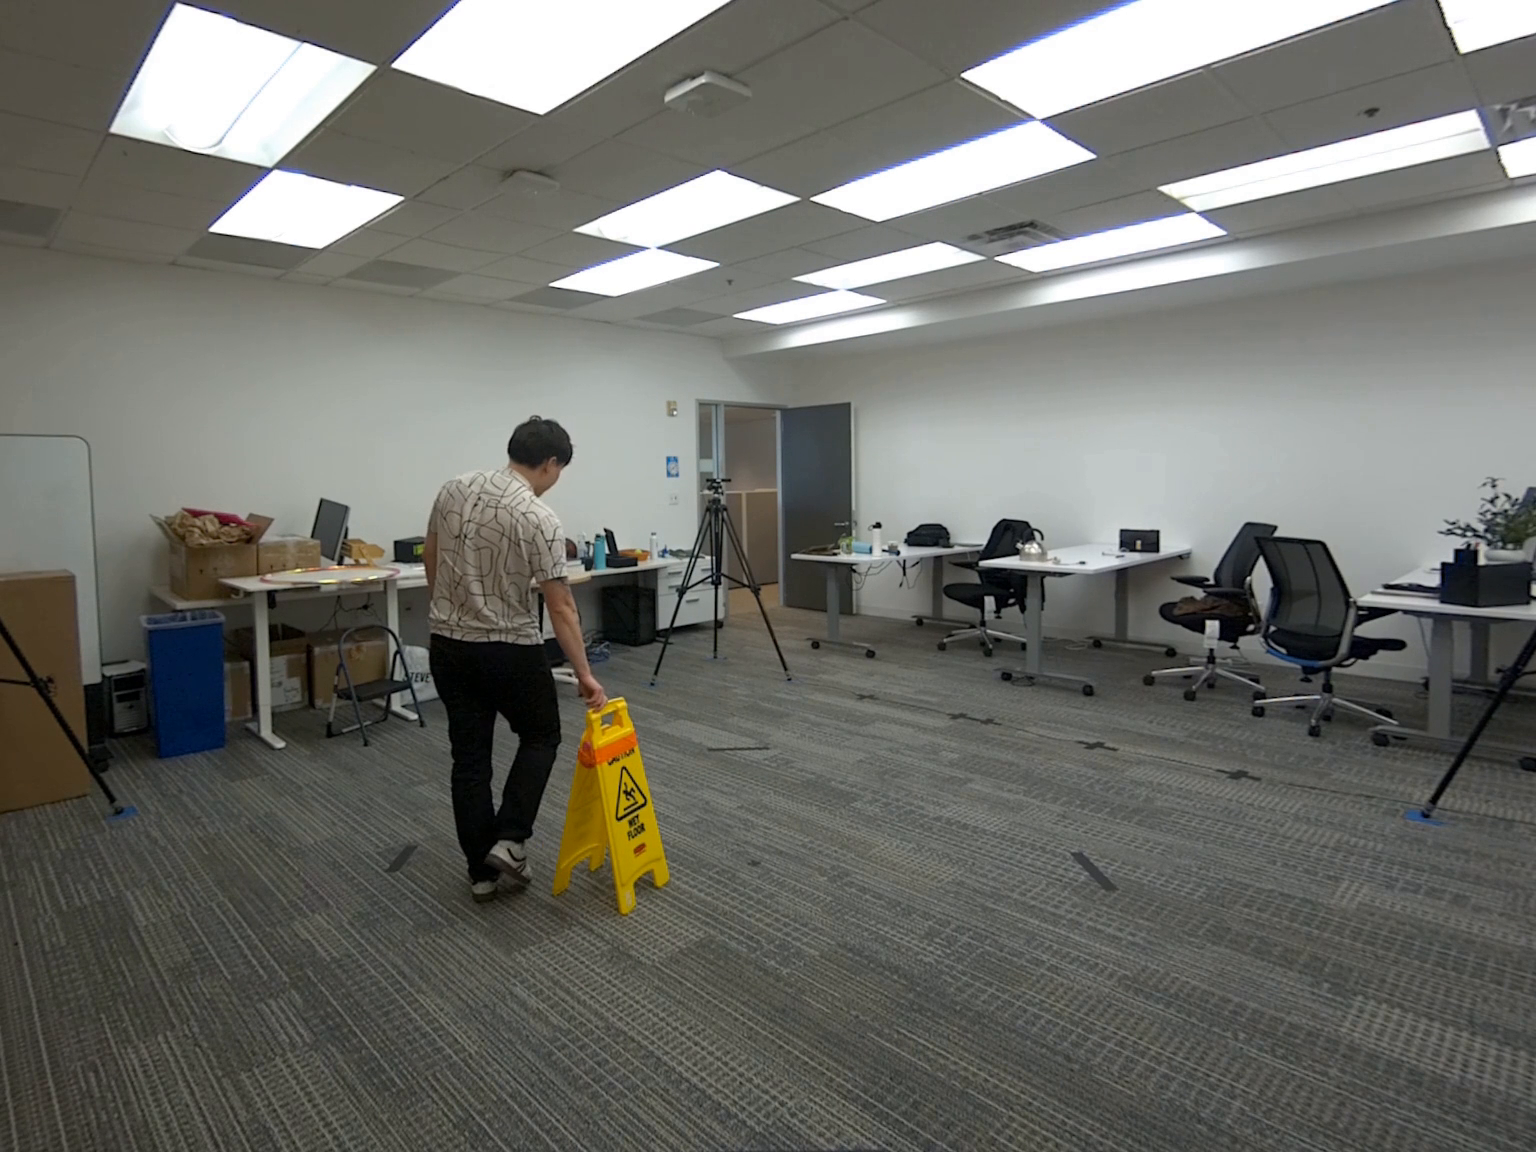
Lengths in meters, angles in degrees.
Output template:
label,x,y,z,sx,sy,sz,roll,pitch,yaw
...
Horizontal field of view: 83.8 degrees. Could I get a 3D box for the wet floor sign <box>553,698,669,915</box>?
label,x,y,z,sx,sy,sz,roll,pitch,yaw
wet floor sign,-0.536,0.749,2.914,0.297,0.643,0.276,3,6,28
